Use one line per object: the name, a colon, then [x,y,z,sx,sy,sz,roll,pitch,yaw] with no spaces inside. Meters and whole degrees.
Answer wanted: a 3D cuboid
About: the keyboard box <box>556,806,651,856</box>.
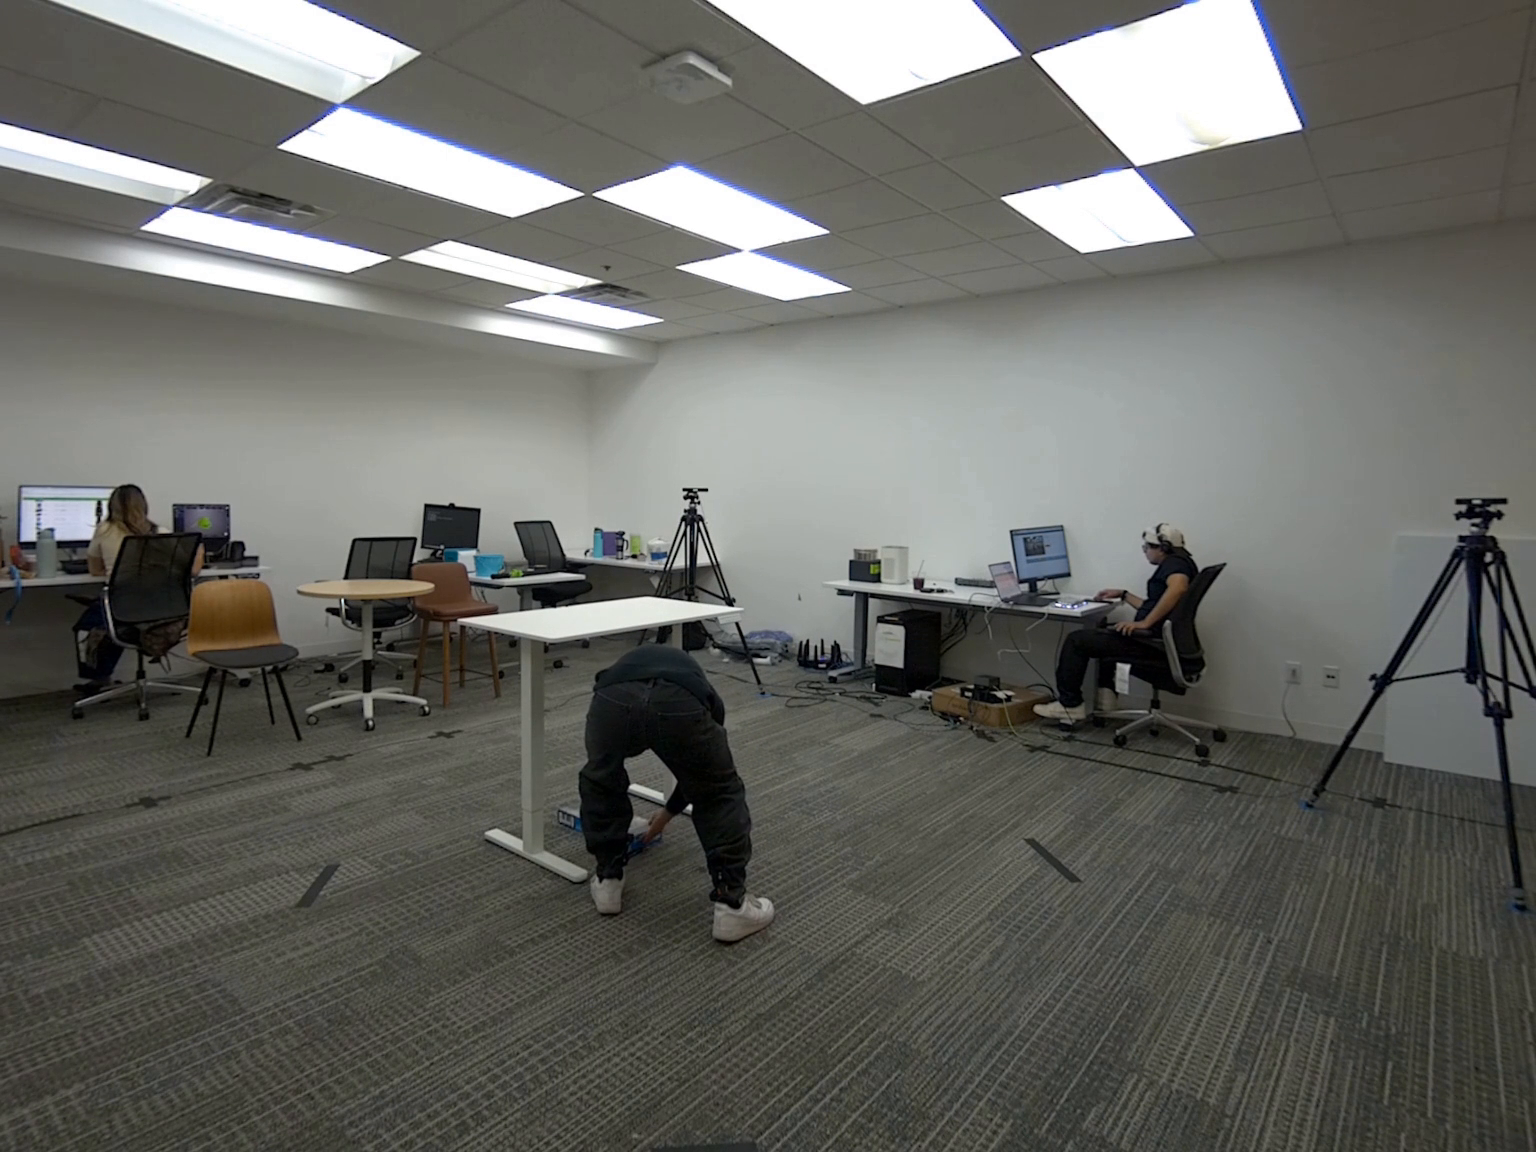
keyboard box: [-0.651,0.997,3.440,0.451,0.059,0.171,5,6,39]
